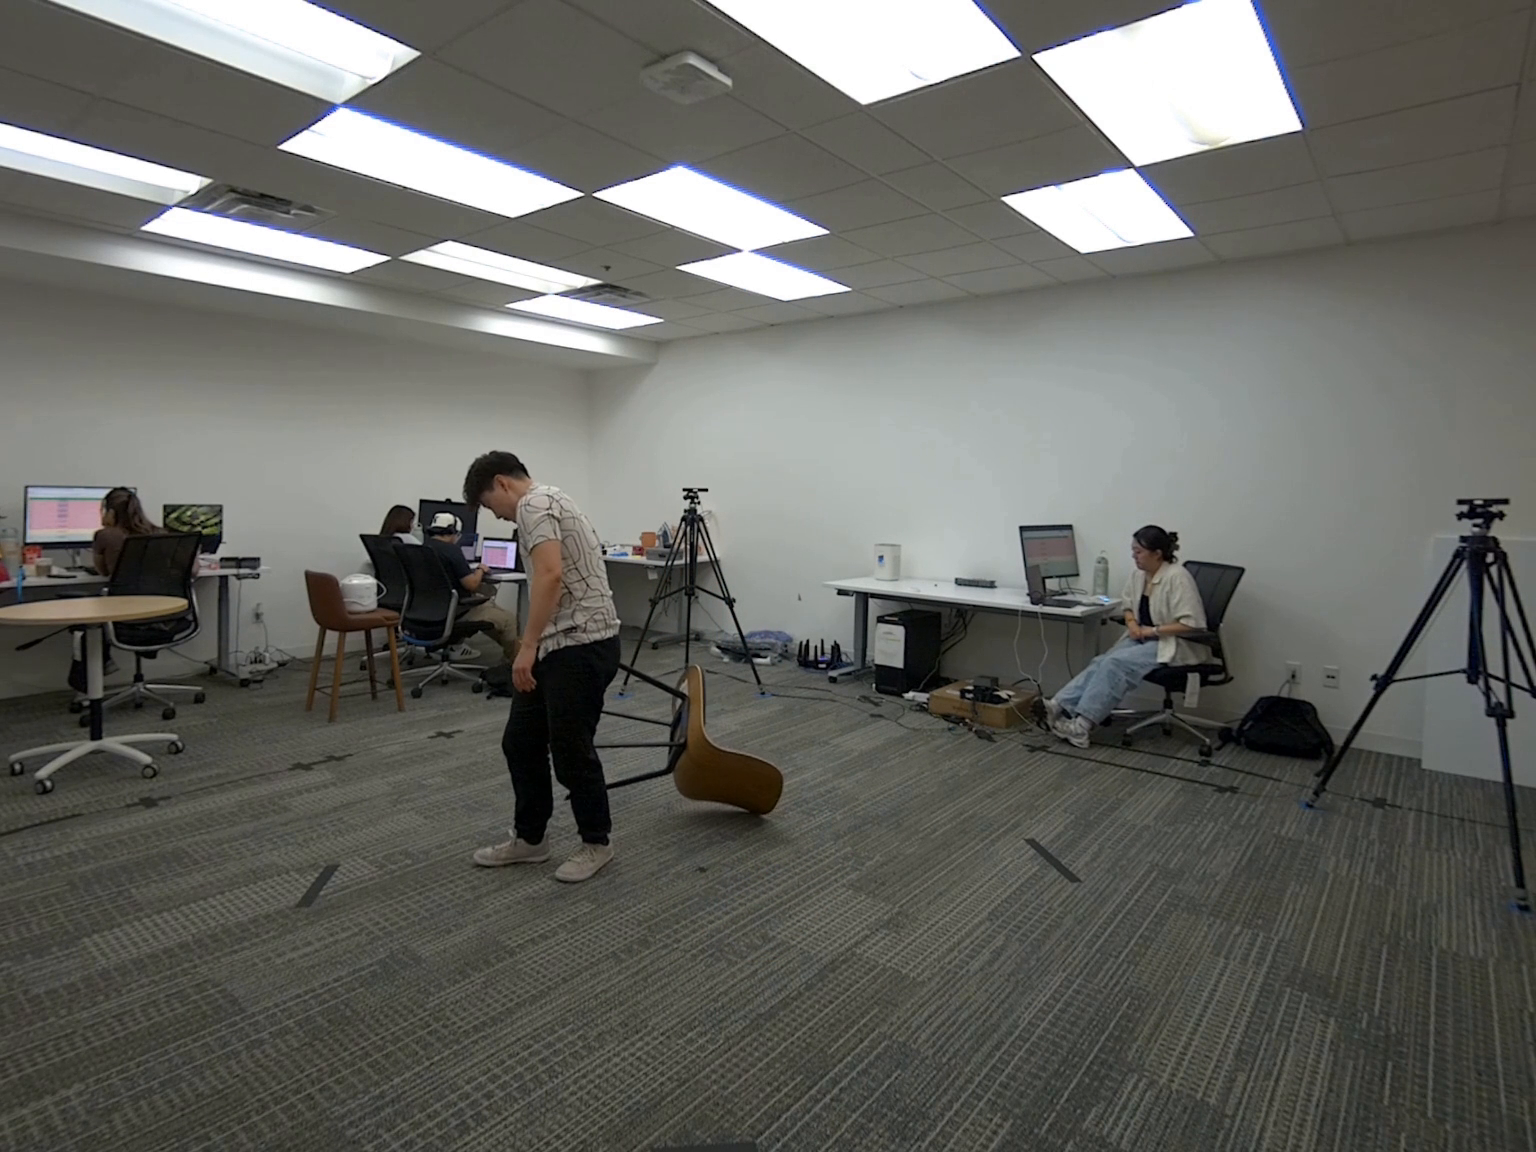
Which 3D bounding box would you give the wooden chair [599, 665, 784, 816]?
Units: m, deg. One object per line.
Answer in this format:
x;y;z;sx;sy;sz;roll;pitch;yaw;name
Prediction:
-0.392;0.674;3.620;0.866;0.538;0.471;11;-44;-11;wooden chair
